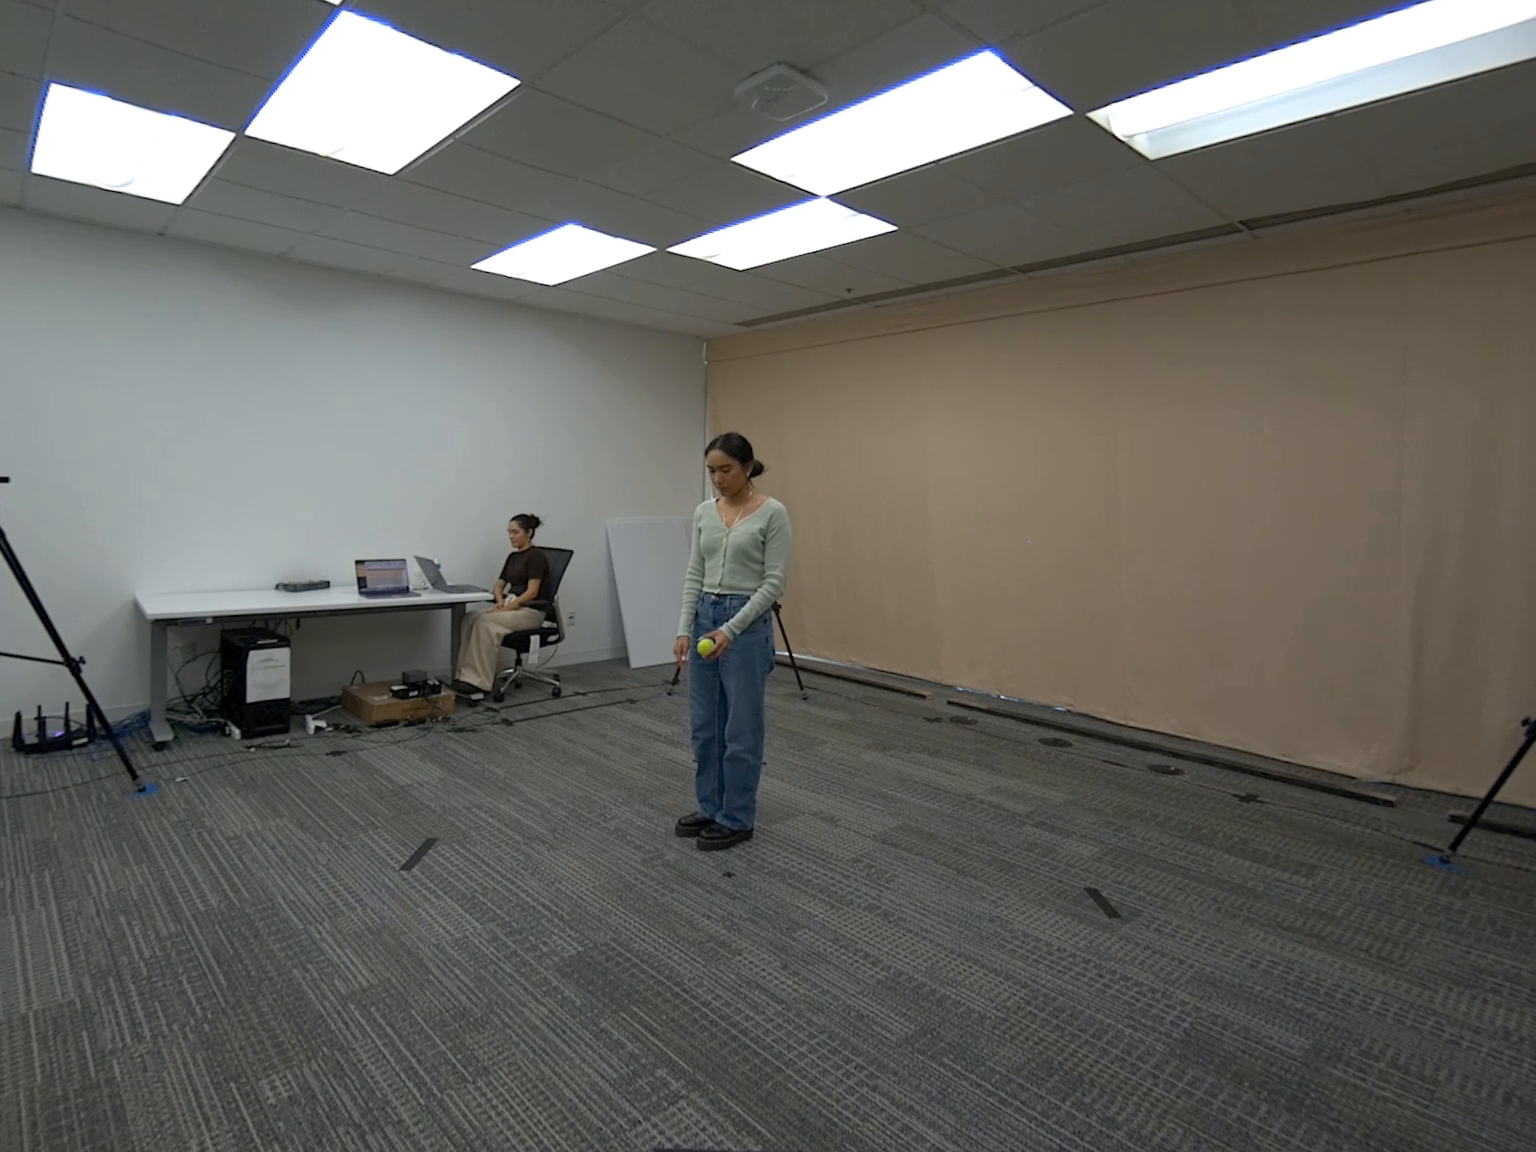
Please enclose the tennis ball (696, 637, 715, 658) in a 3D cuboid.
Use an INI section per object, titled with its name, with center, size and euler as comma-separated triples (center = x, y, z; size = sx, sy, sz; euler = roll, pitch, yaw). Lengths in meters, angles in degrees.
[tennis ball]
center = -0.230, 0.254, 3.148
size = 0.066, 0.066, 0.067
euler = 1, 4, -1
